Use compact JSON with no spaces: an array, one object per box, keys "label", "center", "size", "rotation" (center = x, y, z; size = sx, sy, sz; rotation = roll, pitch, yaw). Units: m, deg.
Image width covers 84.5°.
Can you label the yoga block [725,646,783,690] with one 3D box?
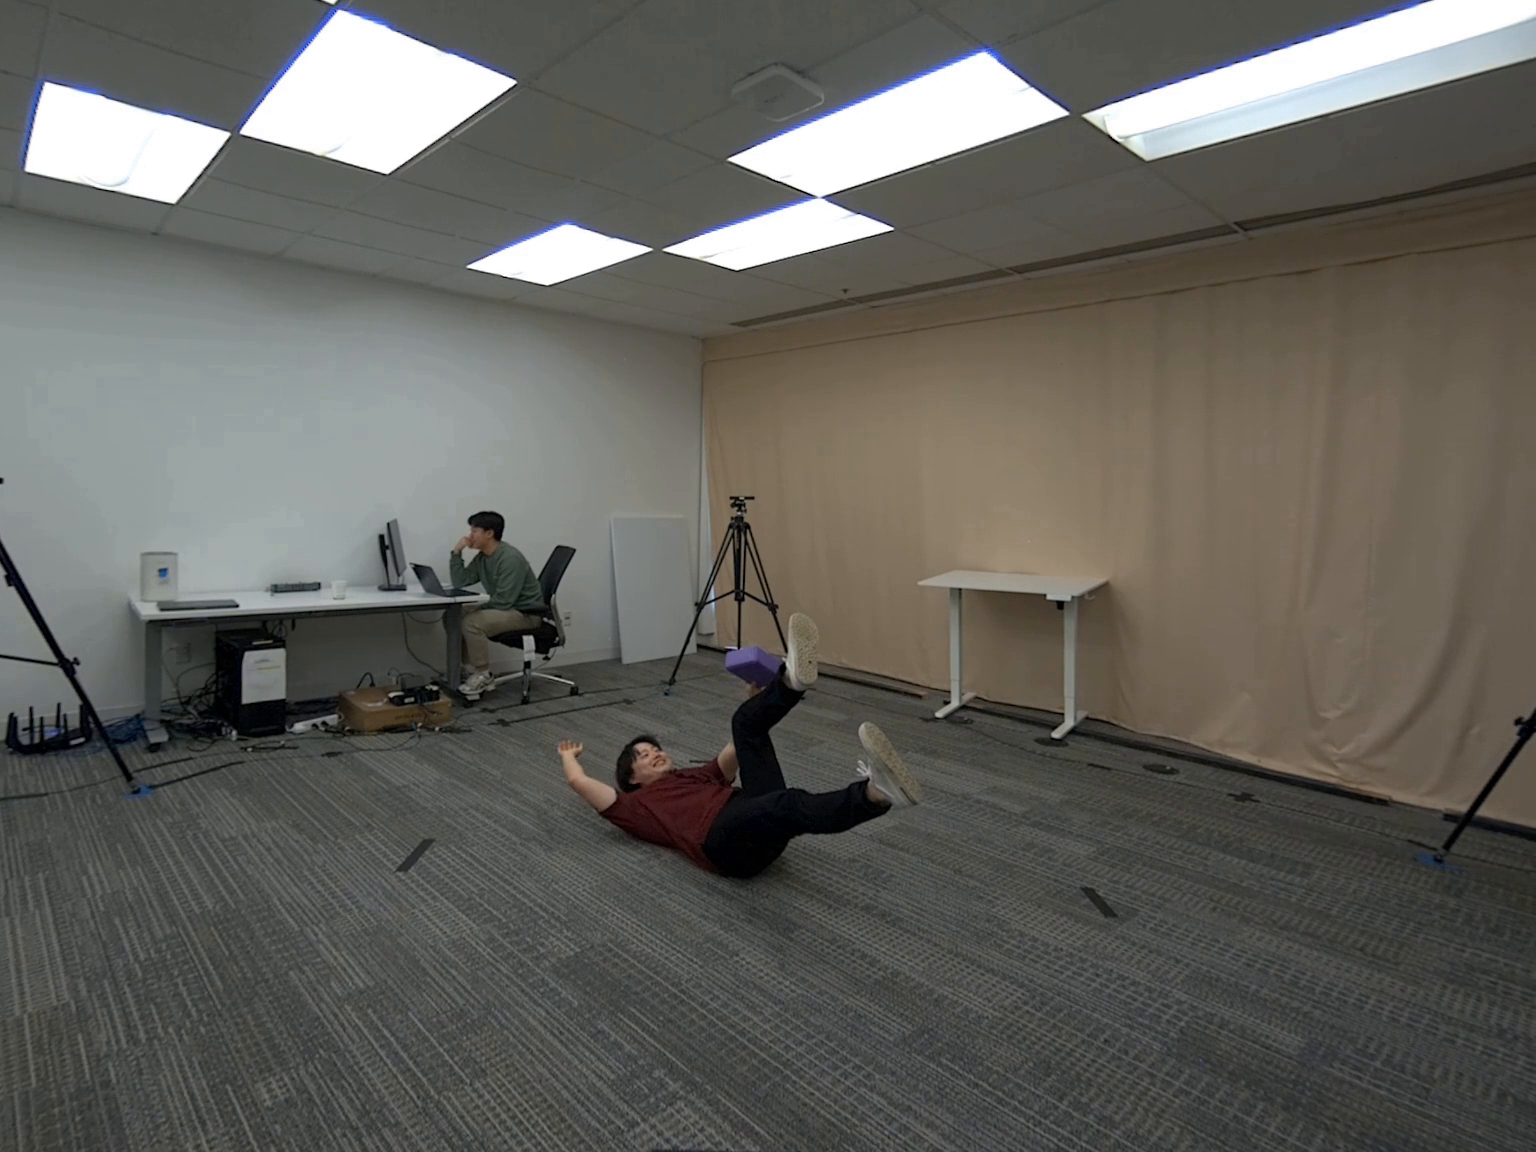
[{"label":"yoga block","center":[-0.062,0.358,3.340],"size":[0.151,0.078,0.222],"rotation":[-11,-33,24]}]
